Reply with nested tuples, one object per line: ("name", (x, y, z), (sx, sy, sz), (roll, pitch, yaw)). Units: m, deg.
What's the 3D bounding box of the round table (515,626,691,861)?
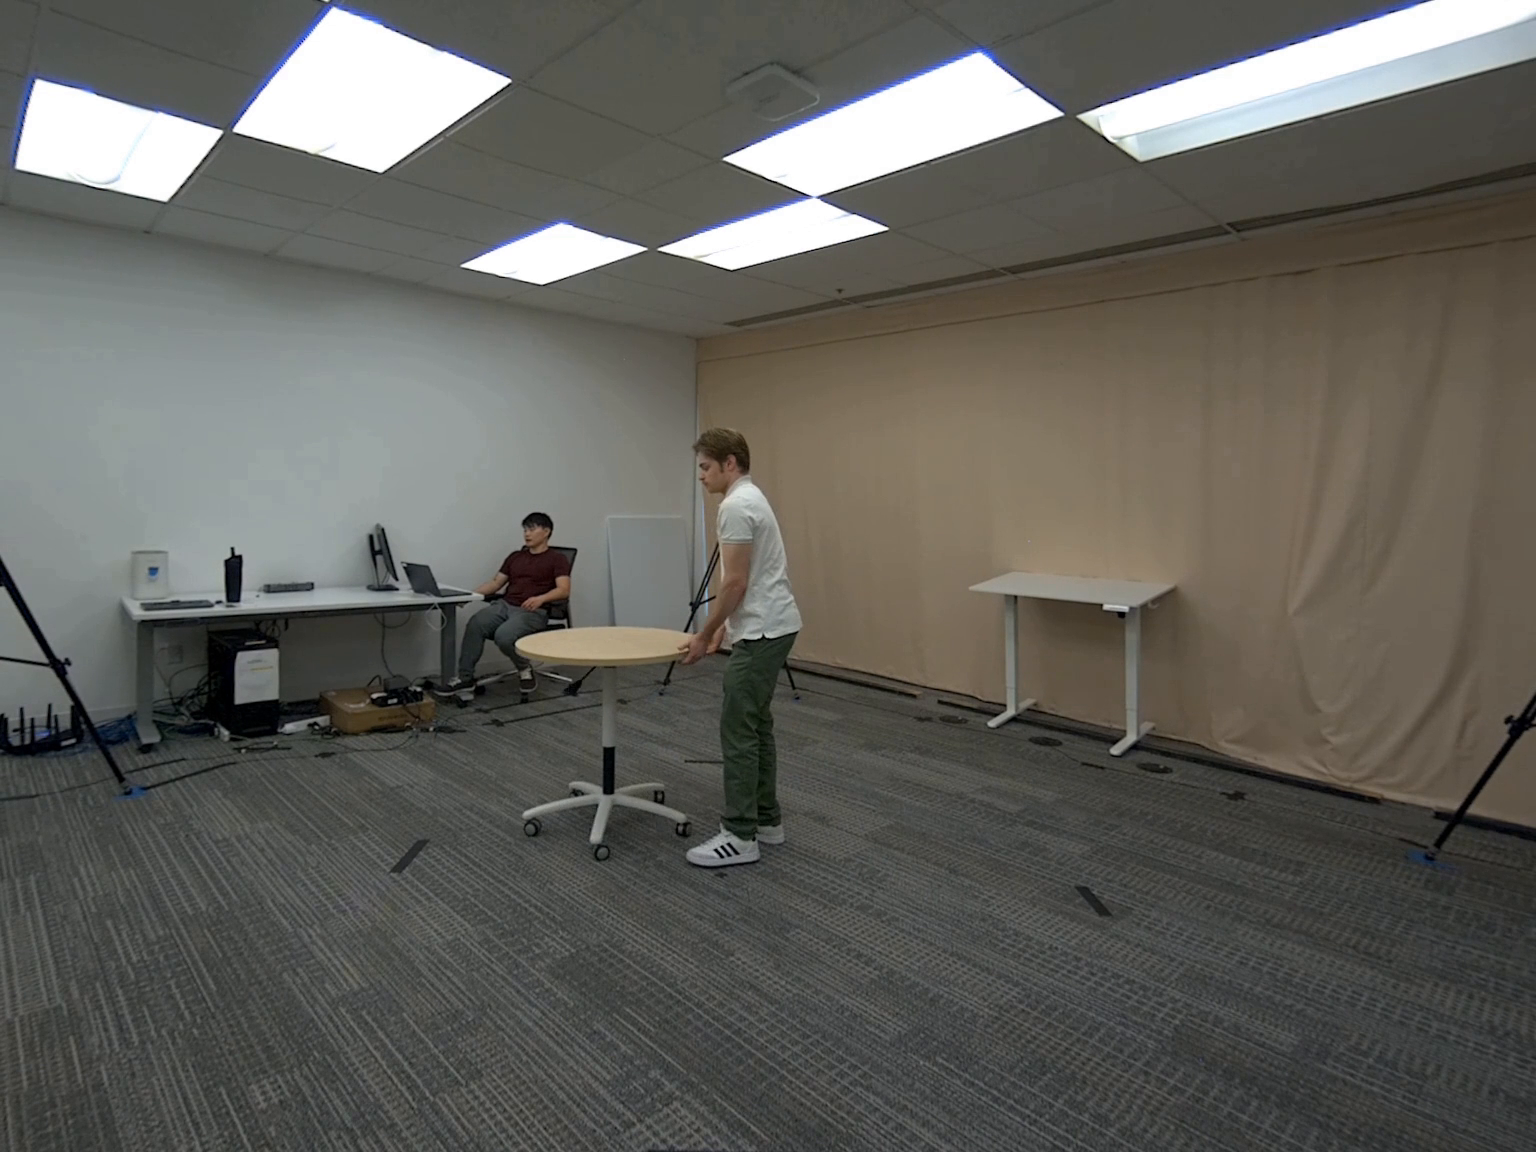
("round table", (-0.664, 0.665, 3.518), (0.763, 0.792, 0.766), (1, 4, -1))
